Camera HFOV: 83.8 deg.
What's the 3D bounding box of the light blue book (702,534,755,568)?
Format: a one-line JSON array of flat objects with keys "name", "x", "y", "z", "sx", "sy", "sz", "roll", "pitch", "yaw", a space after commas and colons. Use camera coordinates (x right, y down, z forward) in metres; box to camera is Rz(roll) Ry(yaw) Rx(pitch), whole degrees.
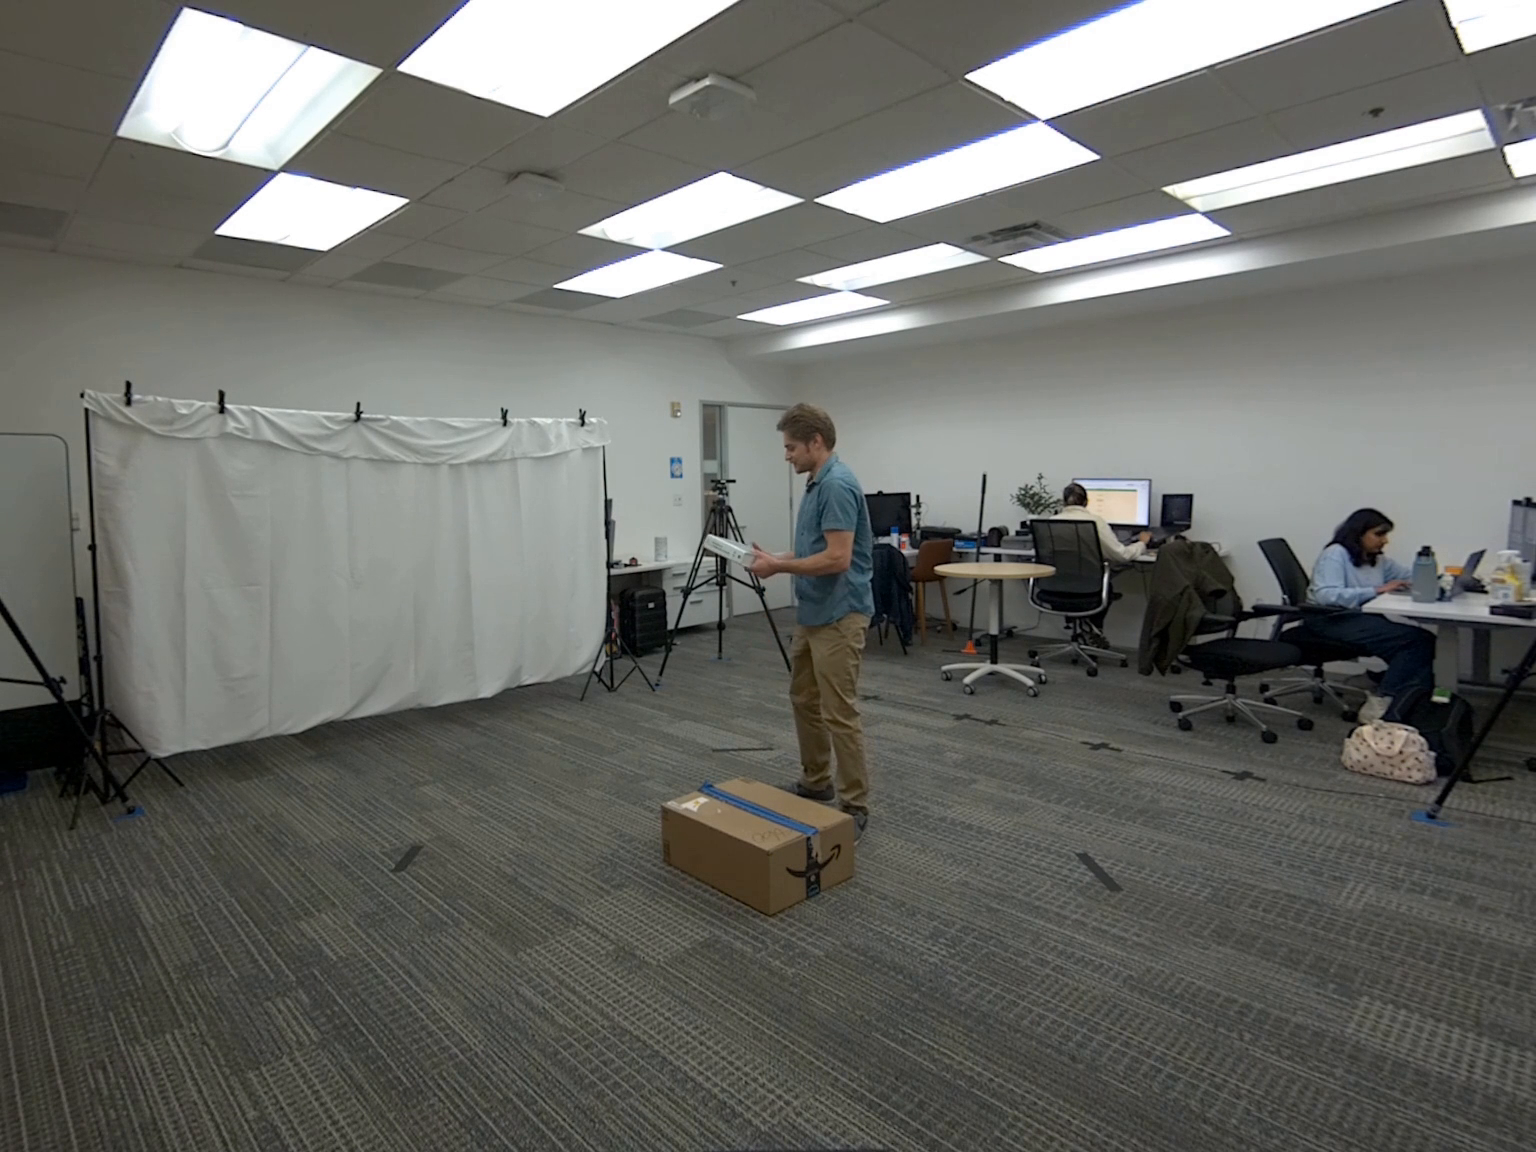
[{"name": "light blue book", "x": -0.113, "y": -0.093, "z": 3.485, "sx": 0.185, "sy": 0.059, "sz": 0.271, "roll": 14, "pitch": 7, "yaw": -44}]
